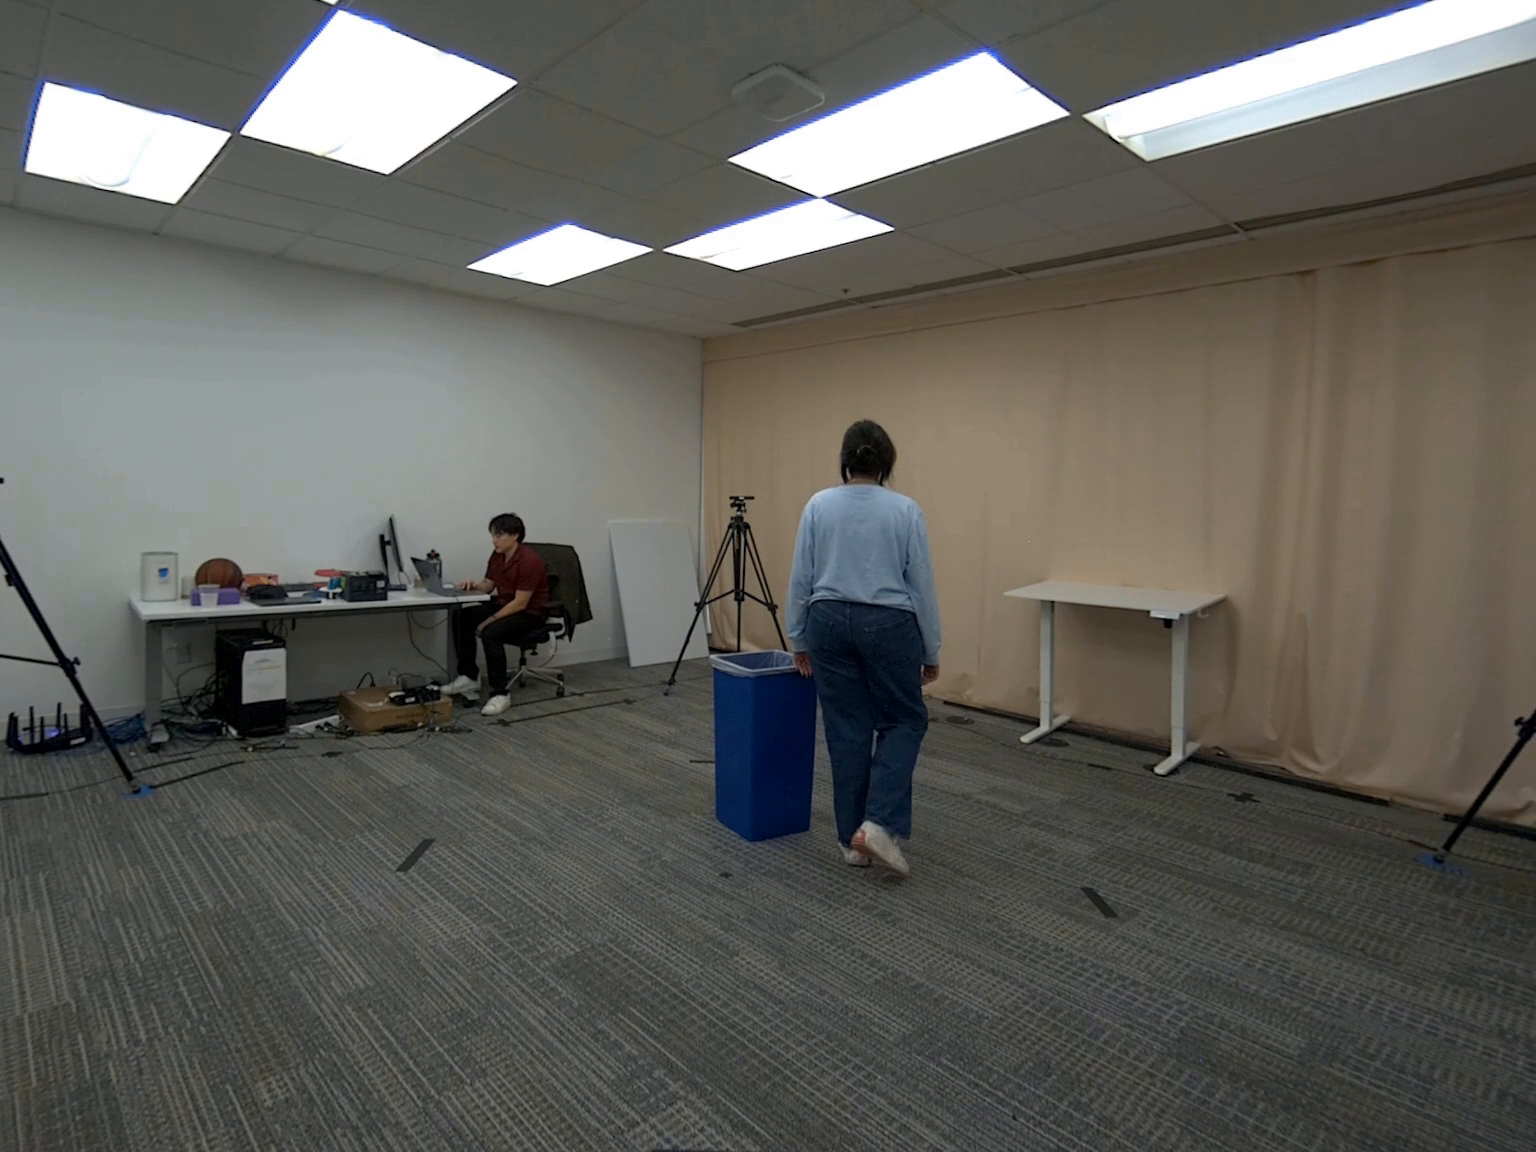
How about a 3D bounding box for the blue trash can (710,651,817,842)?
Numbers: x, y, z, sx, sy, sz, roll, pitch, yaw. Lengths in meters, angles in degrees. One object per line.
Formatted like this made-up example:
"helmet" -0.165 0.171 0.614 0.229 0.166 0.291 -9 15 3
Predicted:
"blue trash can" -0.030 0.709 3.587 0.366 0.712 0.387 0 3 -32
